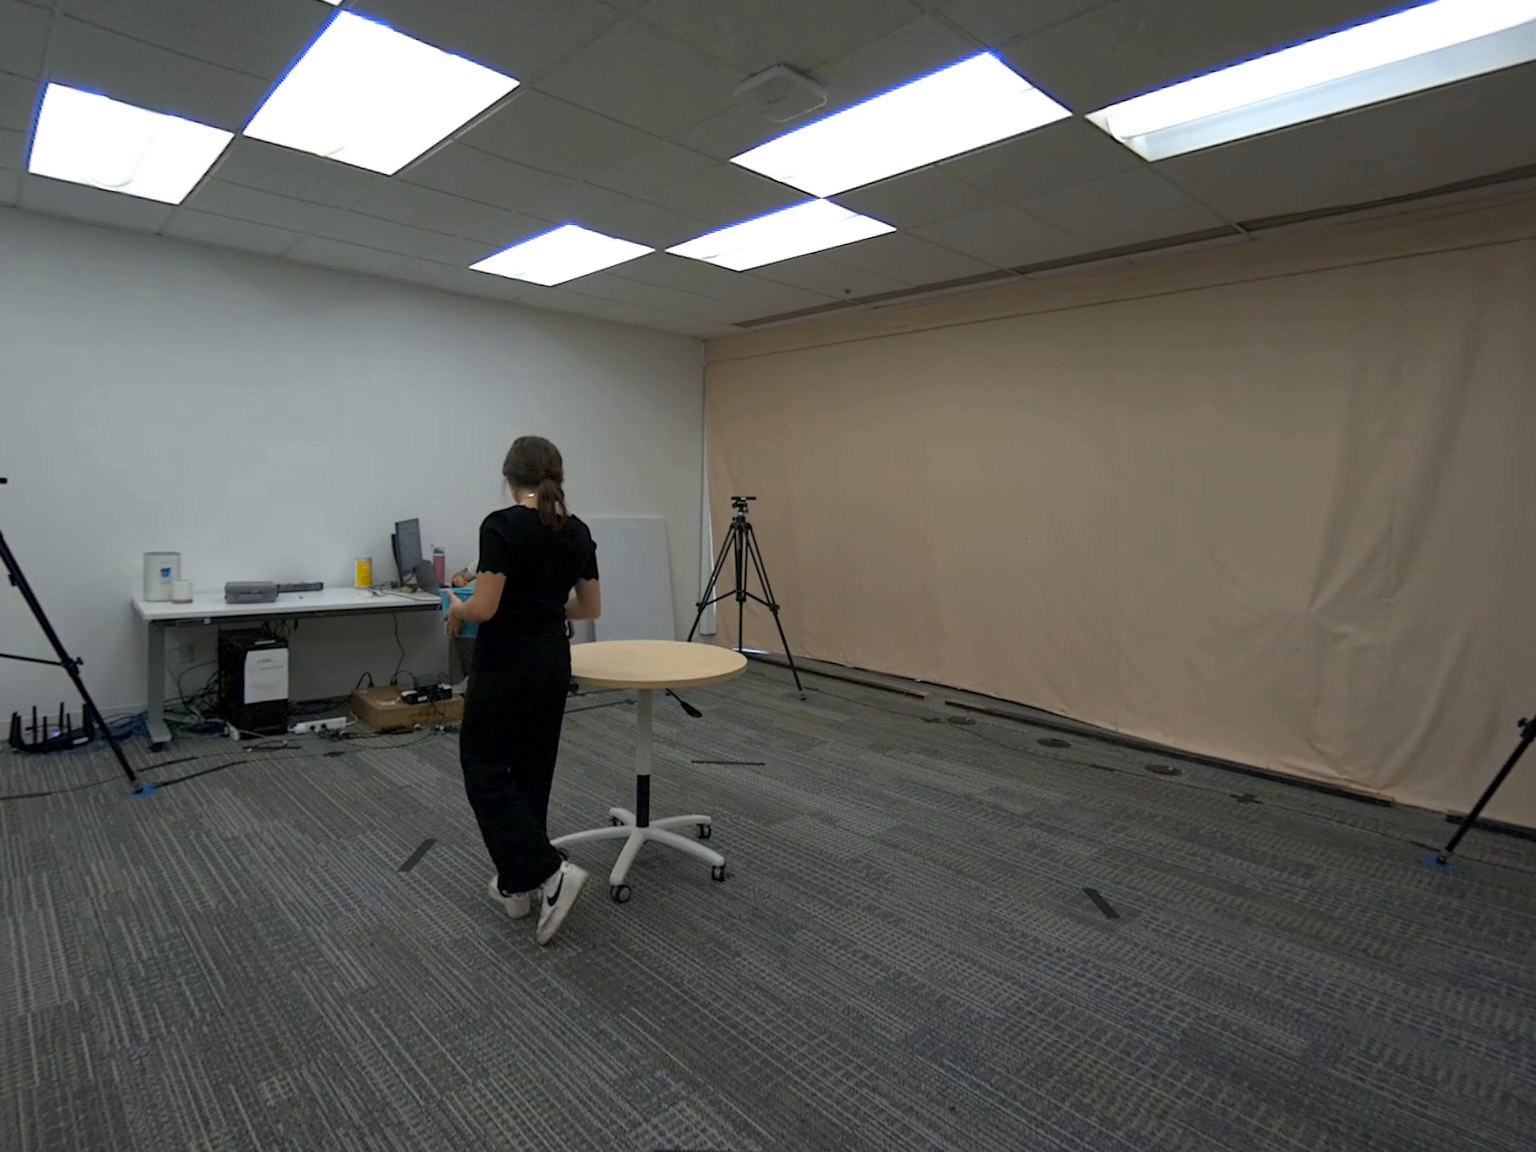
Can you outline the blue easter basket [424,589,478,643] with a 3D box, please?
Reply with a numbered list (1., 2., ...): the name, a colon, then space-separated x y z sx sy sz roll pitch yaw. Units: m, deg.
1. blue easter basket: -1.012 0.133 2.904 0.243 0.156 0.244 3 1 -1
